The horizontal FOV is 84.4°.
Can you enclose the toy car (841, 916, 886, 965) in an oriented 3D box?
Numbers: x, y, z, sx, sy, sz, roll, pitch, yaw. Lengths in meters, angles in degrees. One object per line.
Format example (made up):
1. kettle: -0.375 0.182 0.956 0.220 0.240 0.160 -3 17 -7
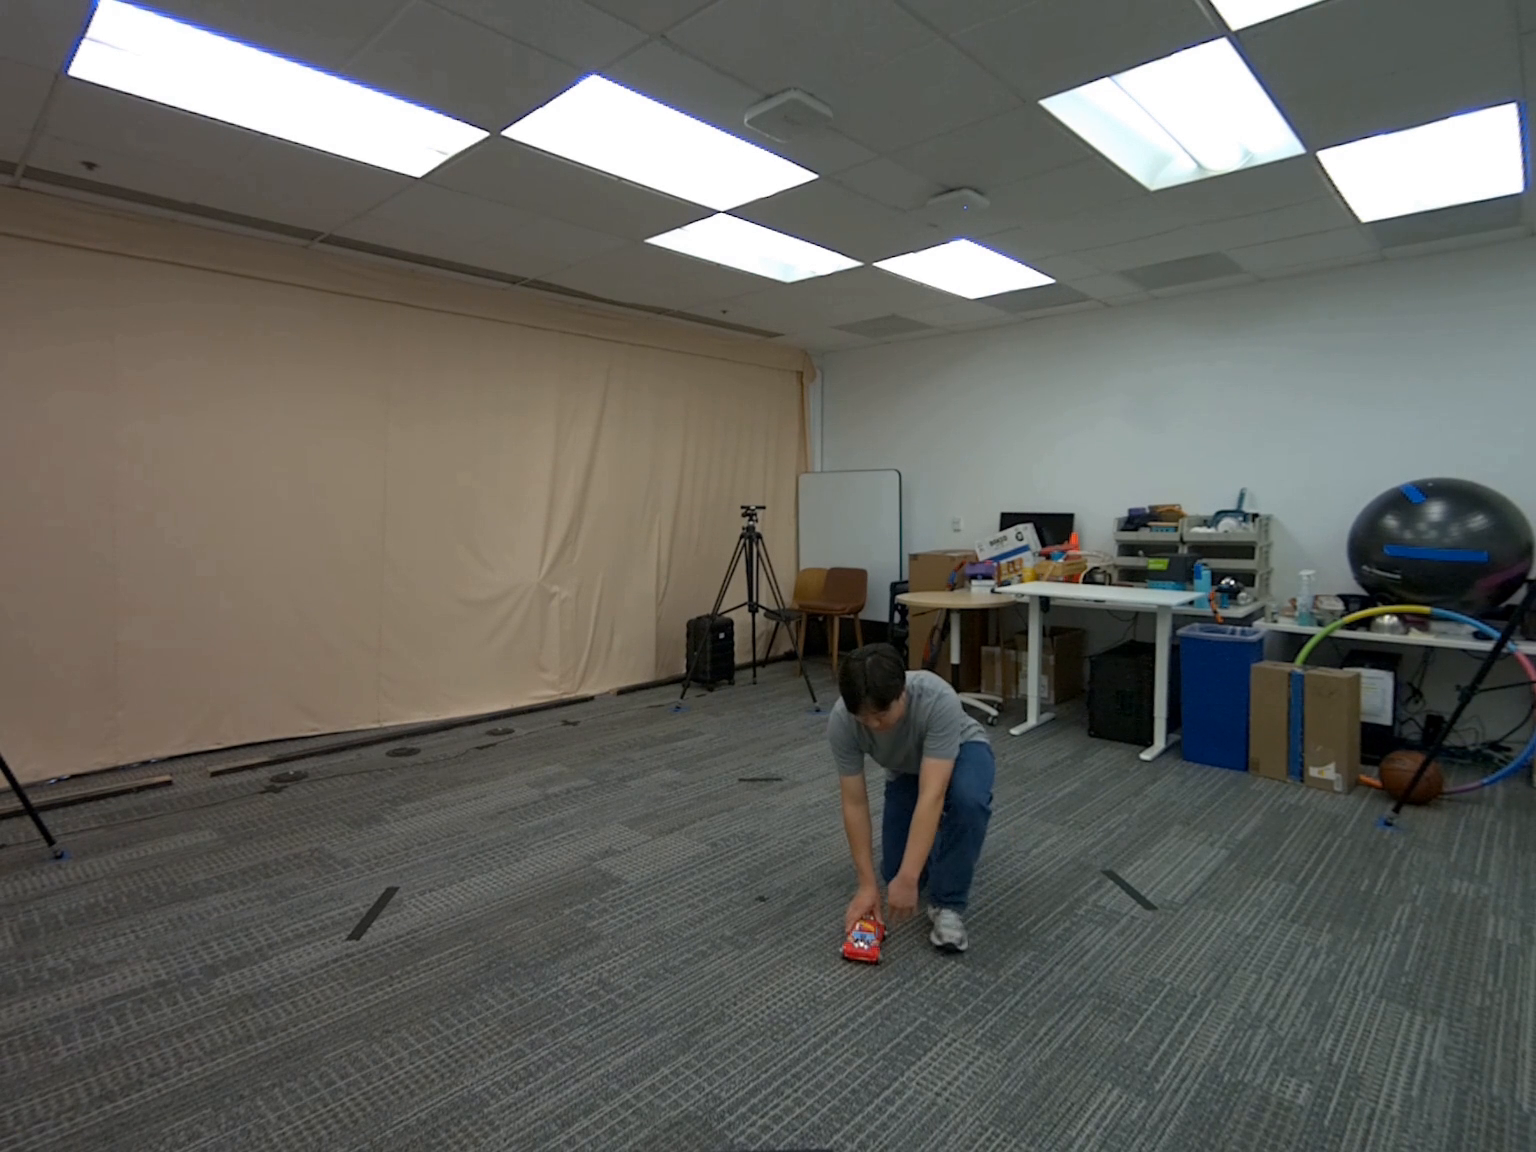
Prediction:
1. toy car: 0.316 1.143 2.657 0.132 0.082 0.252 1 15 15
